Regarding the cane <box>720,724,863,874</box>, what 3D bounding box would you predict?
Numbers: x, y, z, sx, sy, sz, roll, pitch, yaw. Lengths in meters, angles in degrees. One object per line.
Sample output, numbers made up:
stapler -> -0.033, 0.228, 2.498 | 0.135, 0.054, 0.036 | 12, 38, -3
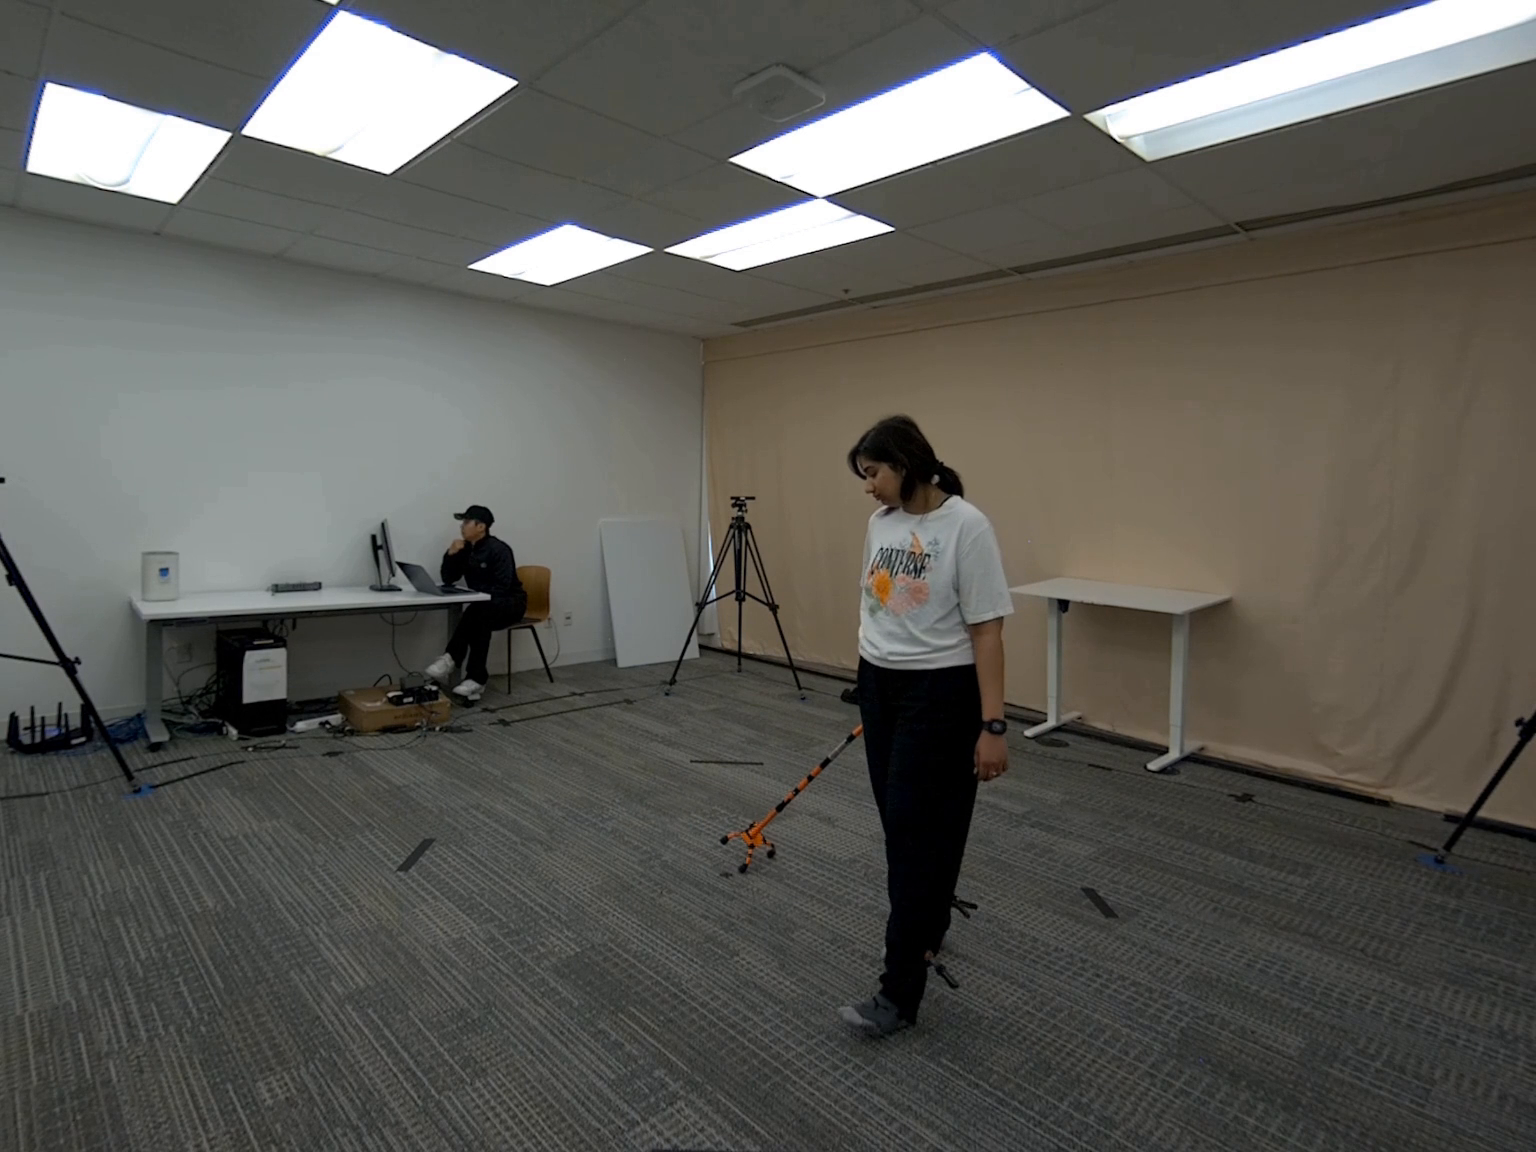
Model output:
cane -> 0.150, 0.738, 3.011 | 0.155, 0.905, 0.202 | 50, 31, 20
